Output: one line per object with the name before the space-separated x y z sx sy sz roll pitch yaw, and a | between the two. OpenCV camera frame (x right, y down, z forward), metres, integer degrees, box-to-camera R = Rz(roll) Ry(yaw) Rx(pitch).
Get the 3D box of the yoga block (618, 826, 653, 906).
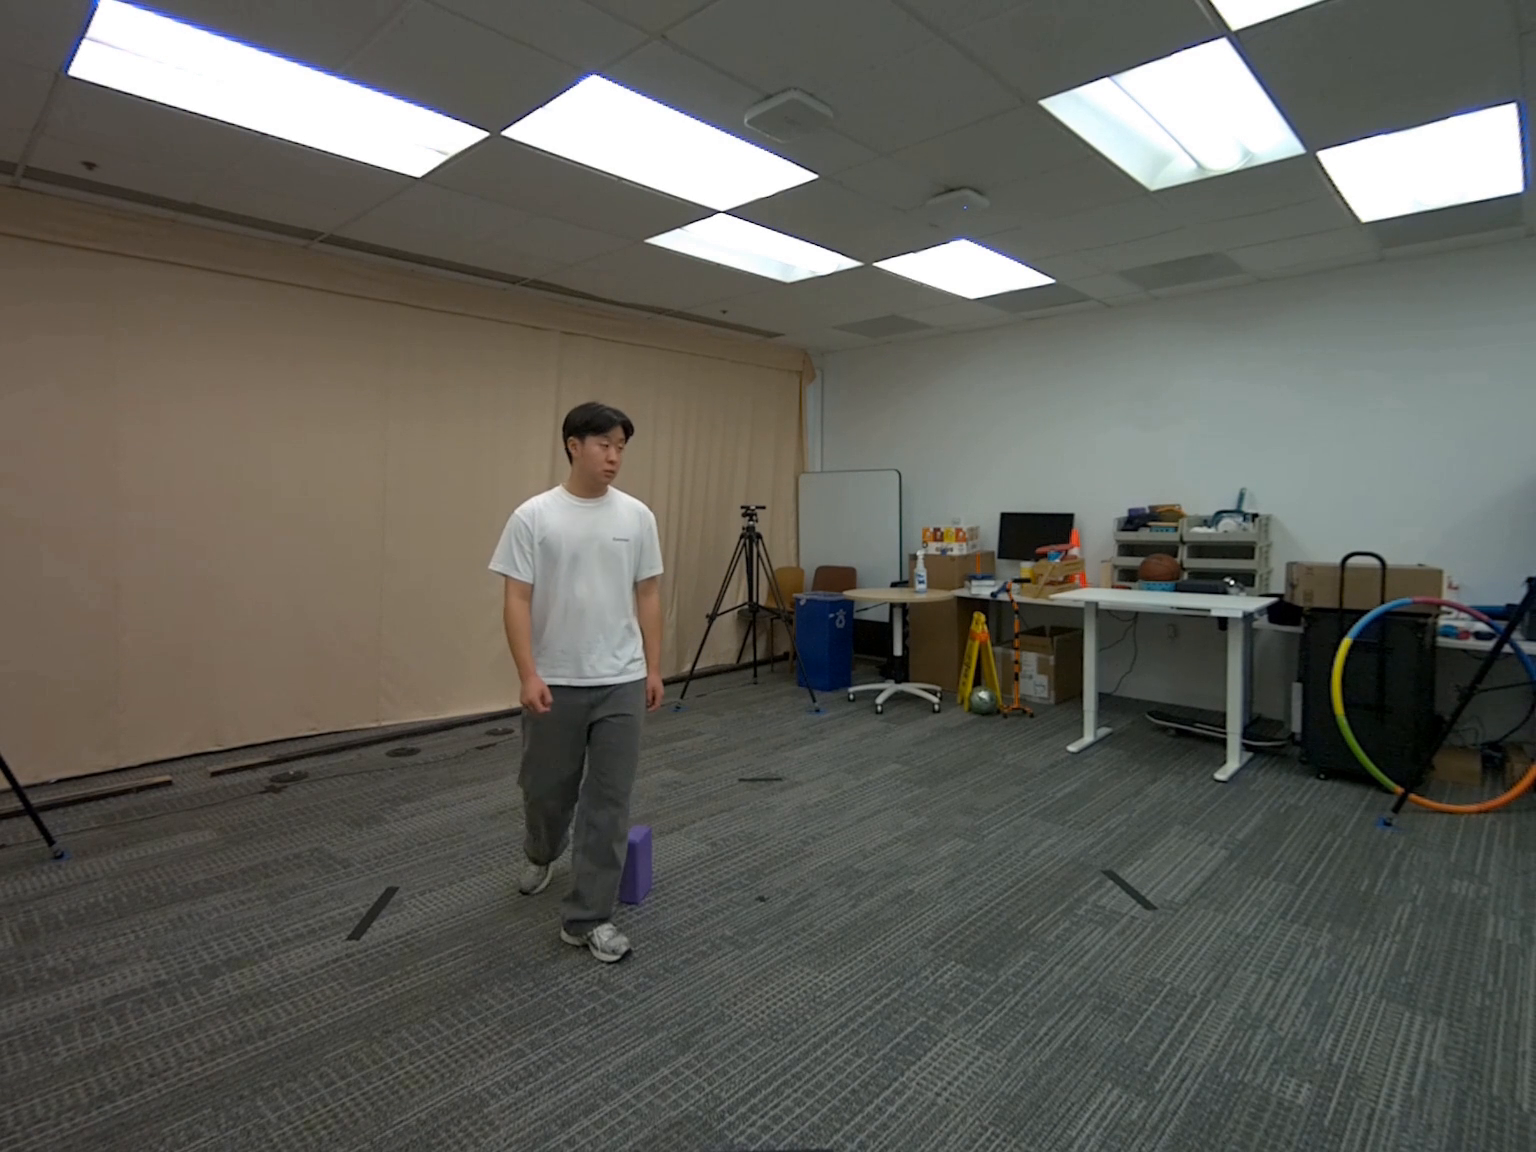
yoga block | -0.468 1.036 3.005 0.077 0.229 0.147 2 3 12
